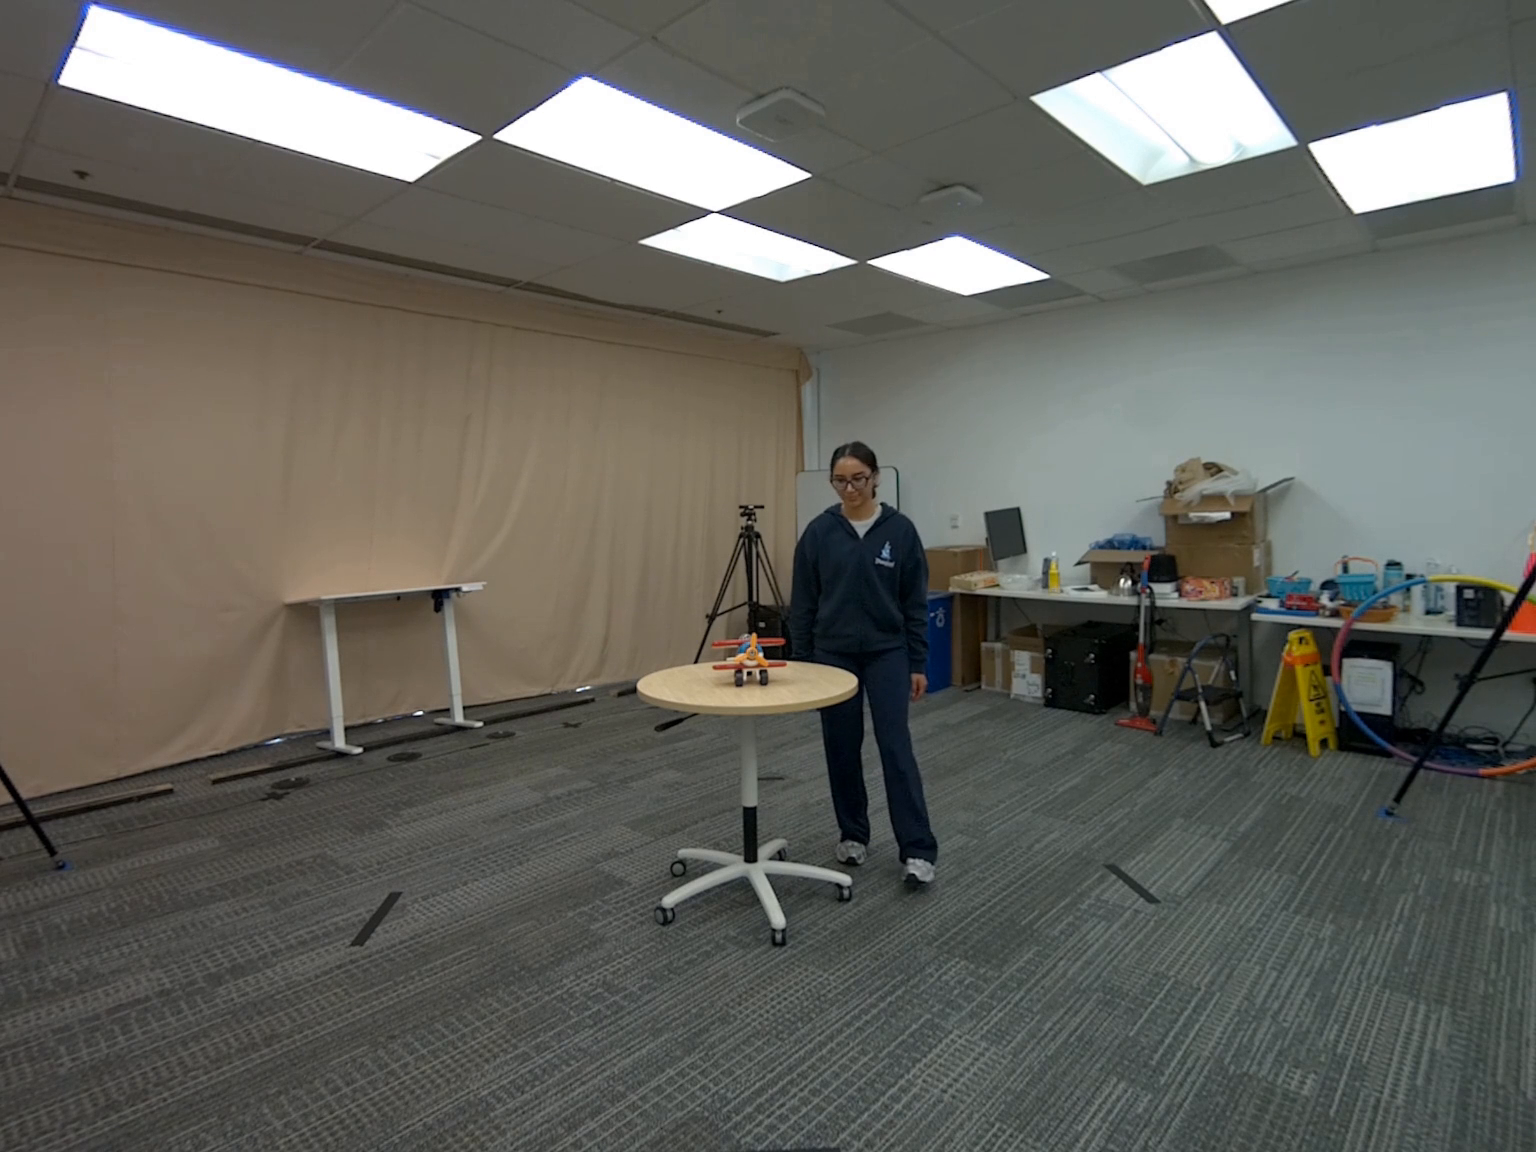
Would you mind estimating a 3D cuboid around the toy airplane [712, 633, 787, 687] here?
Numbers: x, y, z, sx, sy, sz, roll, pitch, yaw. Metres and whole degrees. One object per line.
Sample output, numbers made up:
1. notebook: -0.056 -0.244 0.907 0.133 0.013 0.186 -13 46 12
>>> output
1. toy airplane: -0.086 0.291 2.927 0.244 0.156 0.267 -4 4 -32
